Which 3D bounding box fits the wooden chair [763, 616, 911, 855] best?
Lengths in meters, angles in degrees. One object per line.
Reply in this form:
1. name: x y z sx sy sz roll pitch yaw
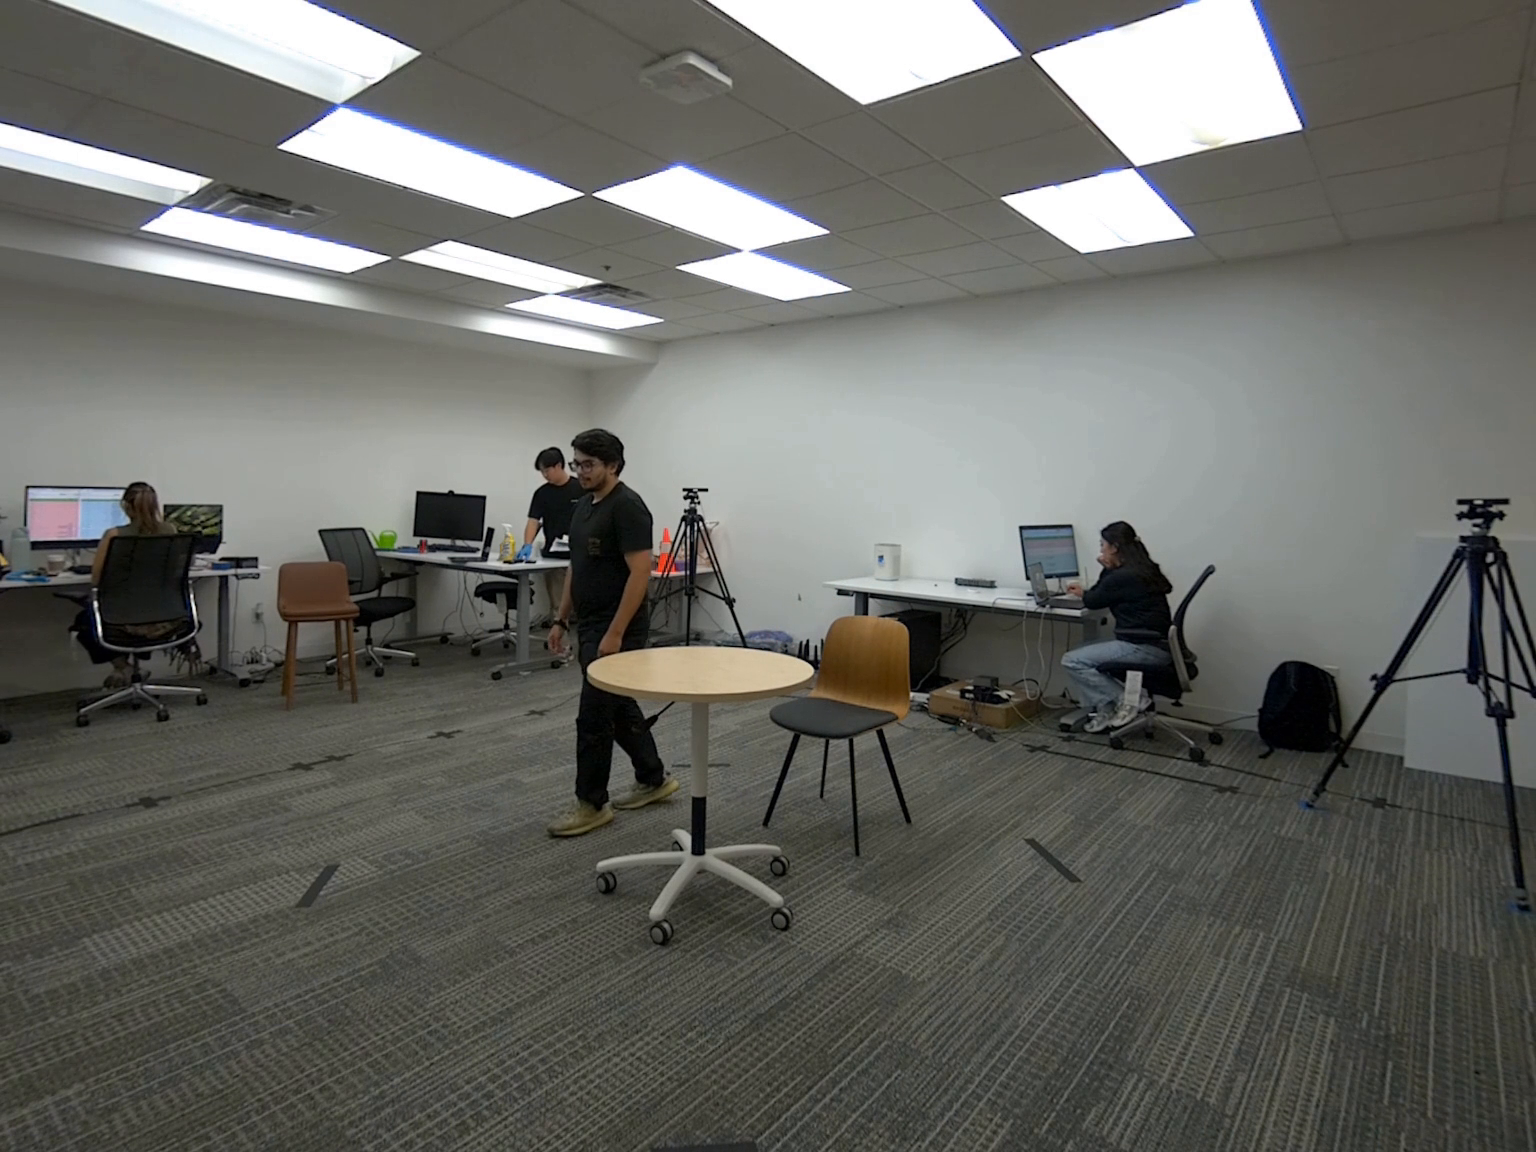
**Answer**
1. wooden chair: 0.289 0.610 3.526 0.494 0.877 0.506 4 0 37
